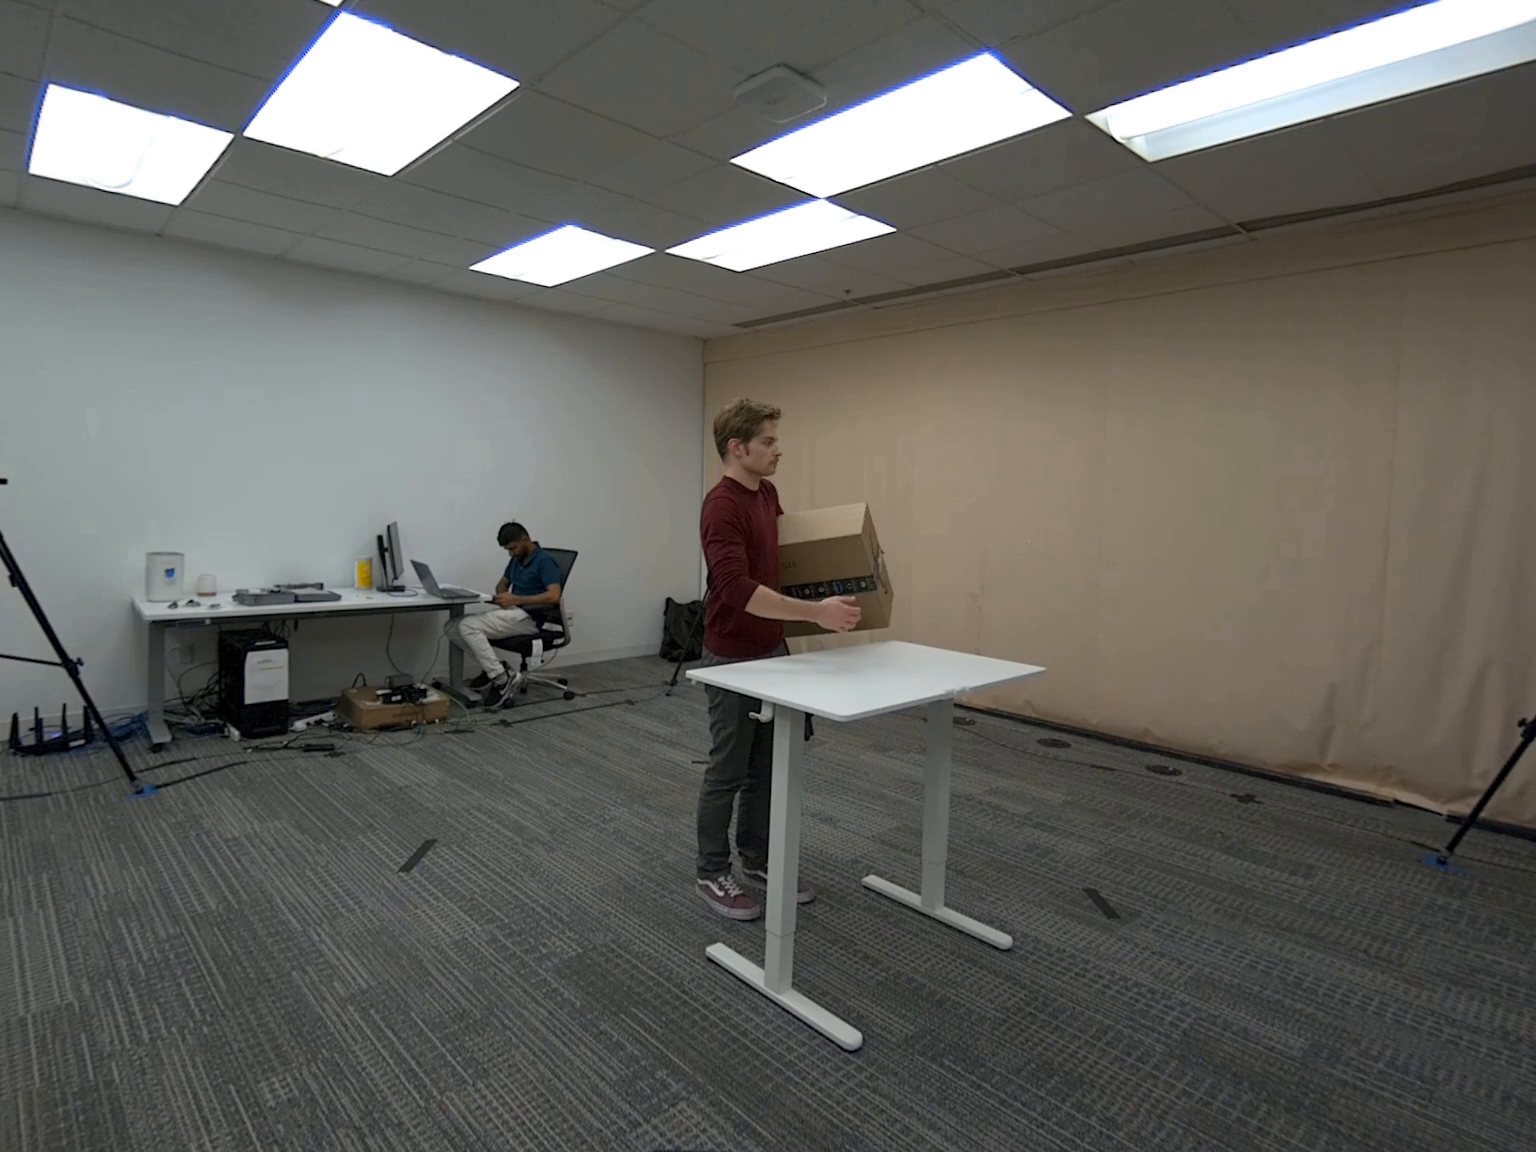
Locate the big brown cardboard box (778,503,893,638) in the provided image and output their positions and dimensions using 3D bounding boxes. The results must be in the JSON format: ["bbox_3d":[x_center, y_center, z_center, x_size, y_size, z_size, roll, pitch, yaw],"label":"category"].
[{"bbox_3d":[0.128,0.005,3.127,0.598,0.407,0.235,-5,32,22],"label":"big brown cardboard box"}]
